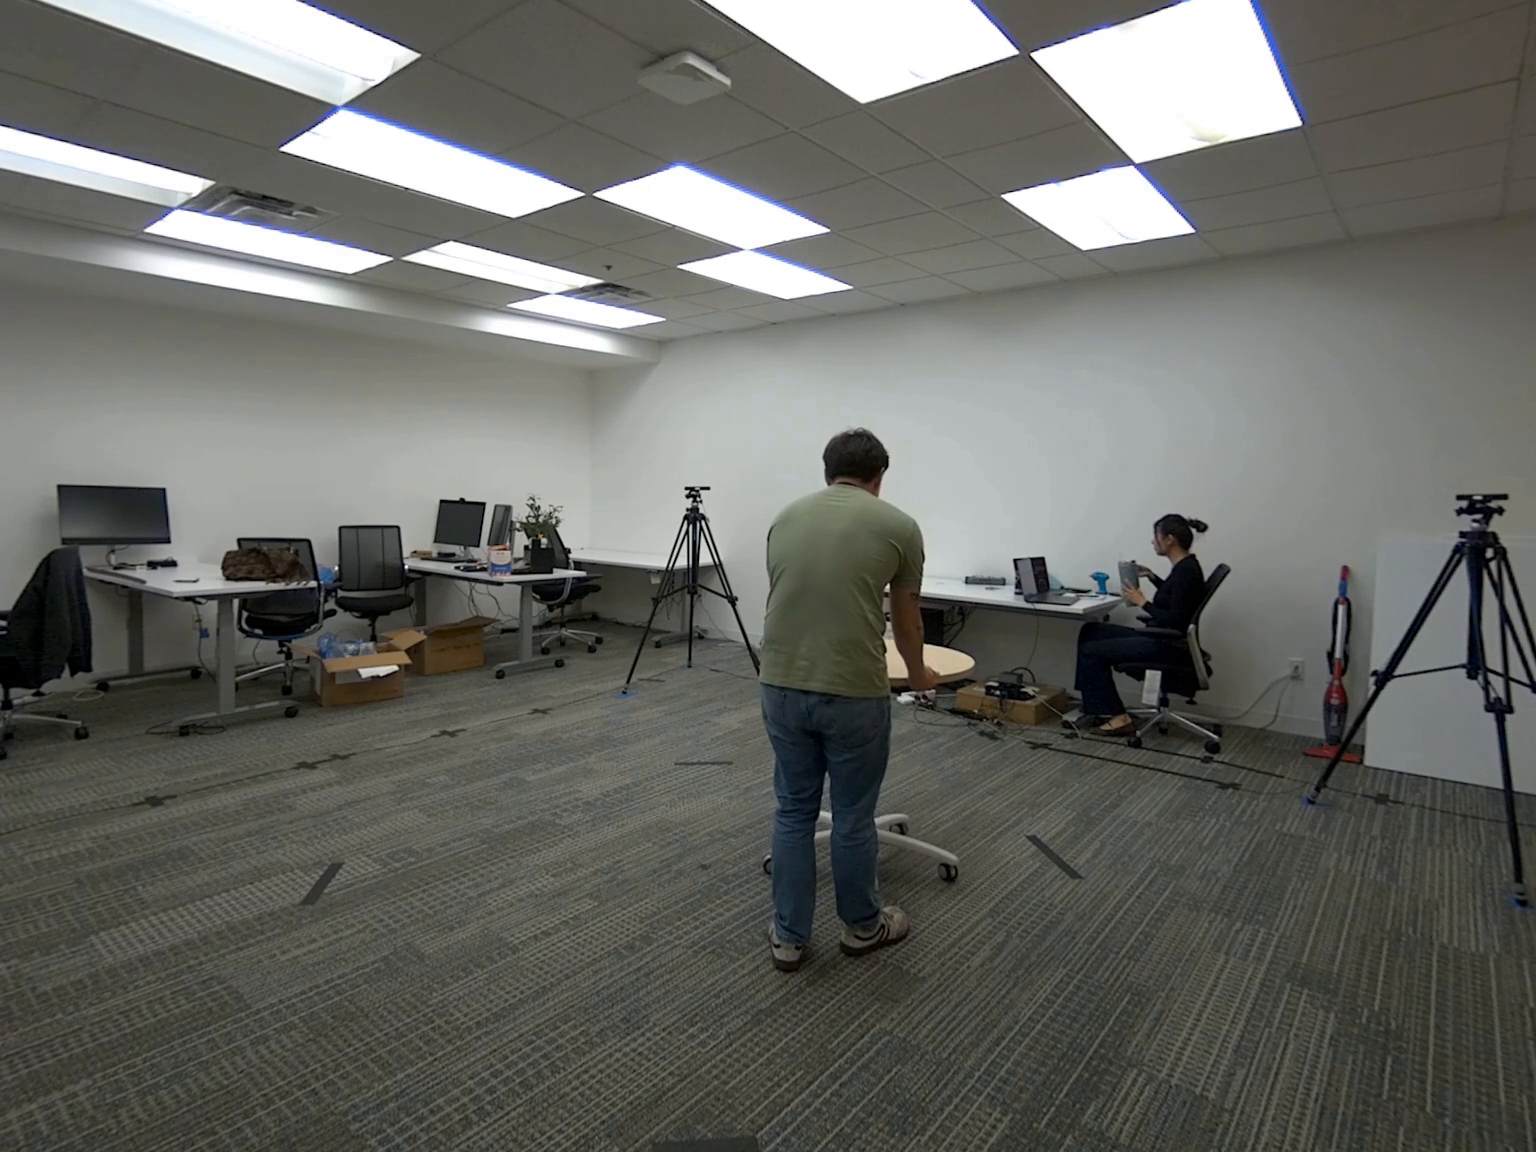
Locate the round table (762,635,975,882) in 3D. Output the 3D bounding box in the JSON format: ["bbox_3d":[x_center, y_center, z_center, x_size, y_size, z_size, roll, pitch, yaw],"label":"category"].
[{"bbox_3d":[0.345,0.681,3.147,0.763,0.791,0.768,1,4,-2],"label":"round table"}]
